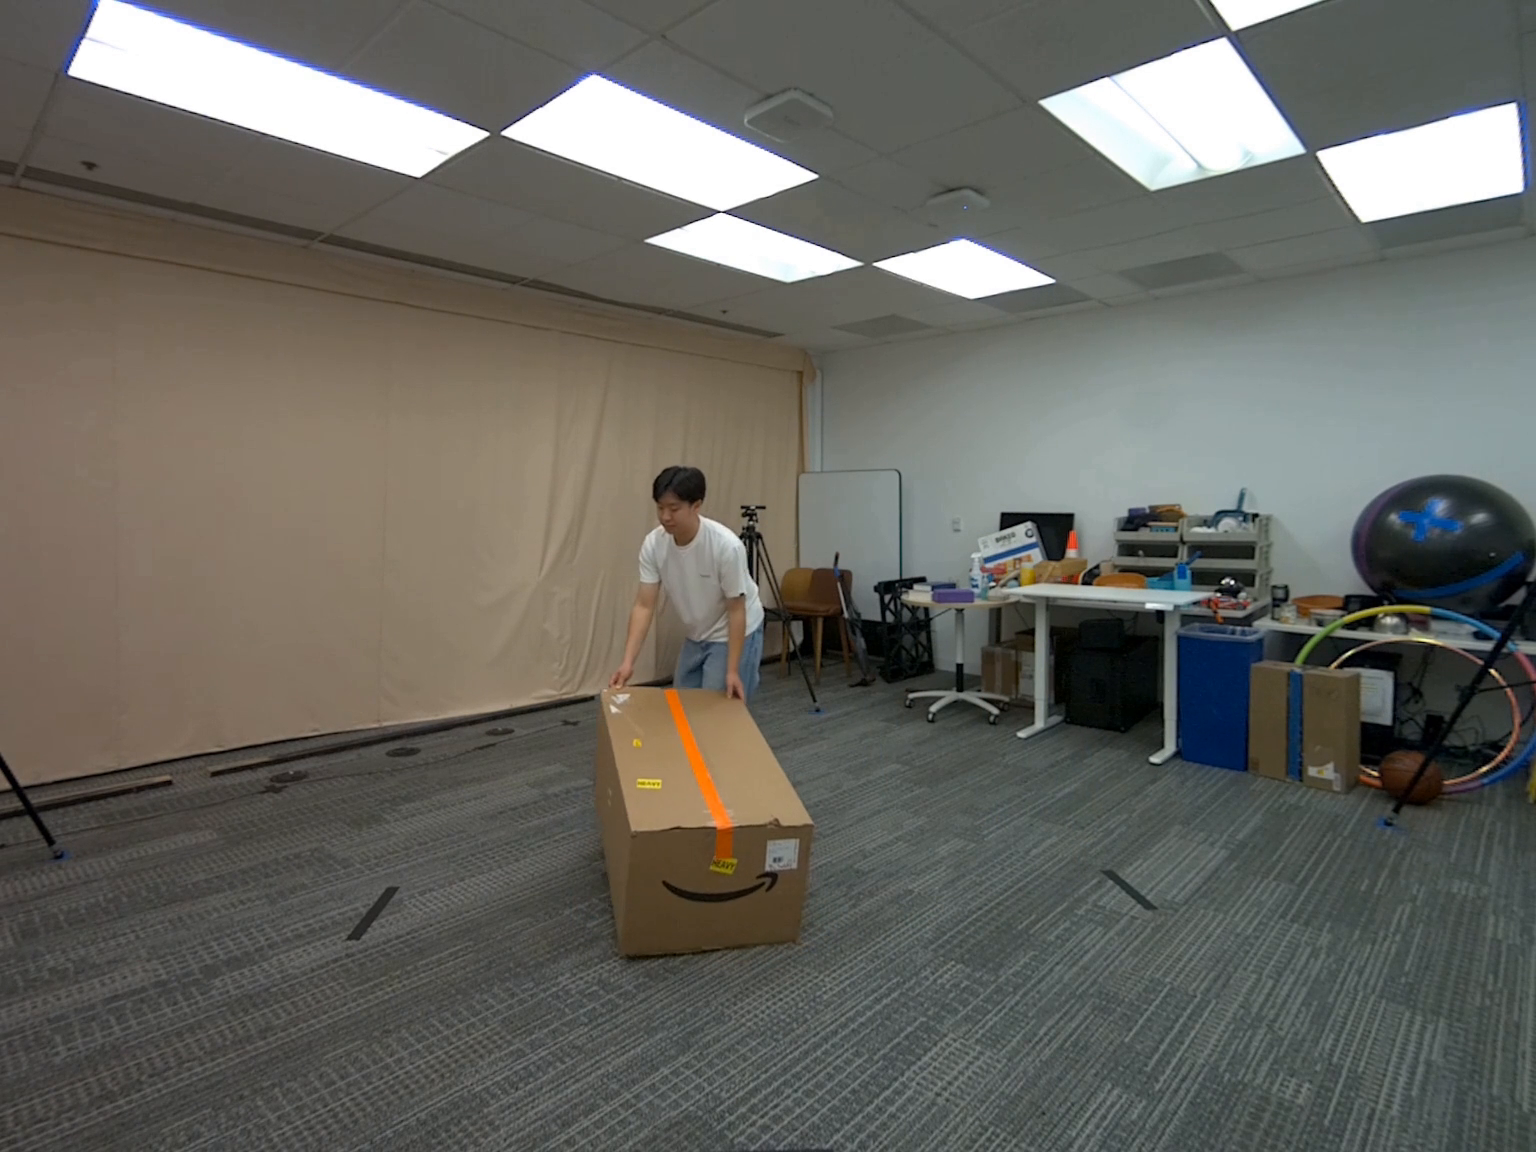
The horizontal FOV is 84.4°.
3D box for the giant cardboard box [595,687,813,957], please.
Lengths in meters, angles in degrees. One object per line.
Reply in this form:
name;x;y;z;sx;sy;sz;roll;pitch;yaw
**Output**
giant cardboard box;-0.289;0.815;3.043;0.568;0.423;1.050;2;15;-16
